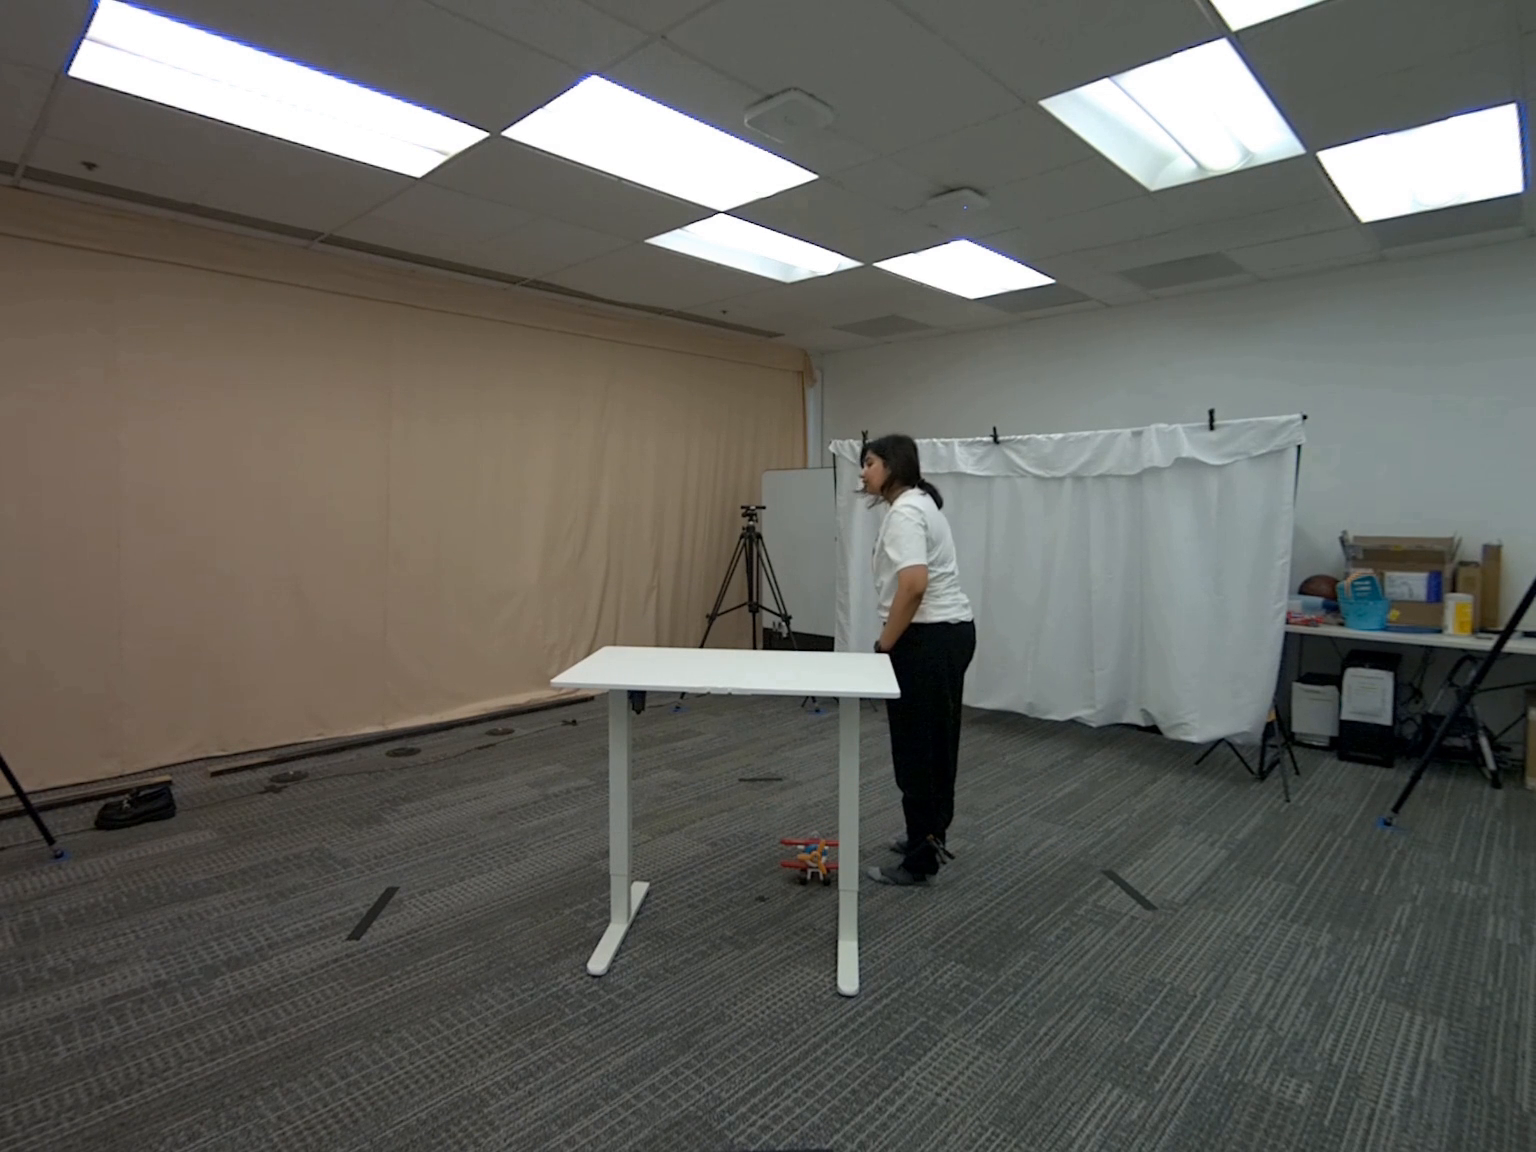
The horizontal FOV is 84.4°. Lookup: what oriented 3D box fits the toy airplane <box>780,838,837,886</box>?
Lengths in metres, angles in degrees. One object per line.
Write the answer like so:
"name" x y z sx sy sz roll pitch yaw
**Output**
"toy airplane" 0.156 1.066 3.177 0.244 0.156 0.266 1 1 -31
